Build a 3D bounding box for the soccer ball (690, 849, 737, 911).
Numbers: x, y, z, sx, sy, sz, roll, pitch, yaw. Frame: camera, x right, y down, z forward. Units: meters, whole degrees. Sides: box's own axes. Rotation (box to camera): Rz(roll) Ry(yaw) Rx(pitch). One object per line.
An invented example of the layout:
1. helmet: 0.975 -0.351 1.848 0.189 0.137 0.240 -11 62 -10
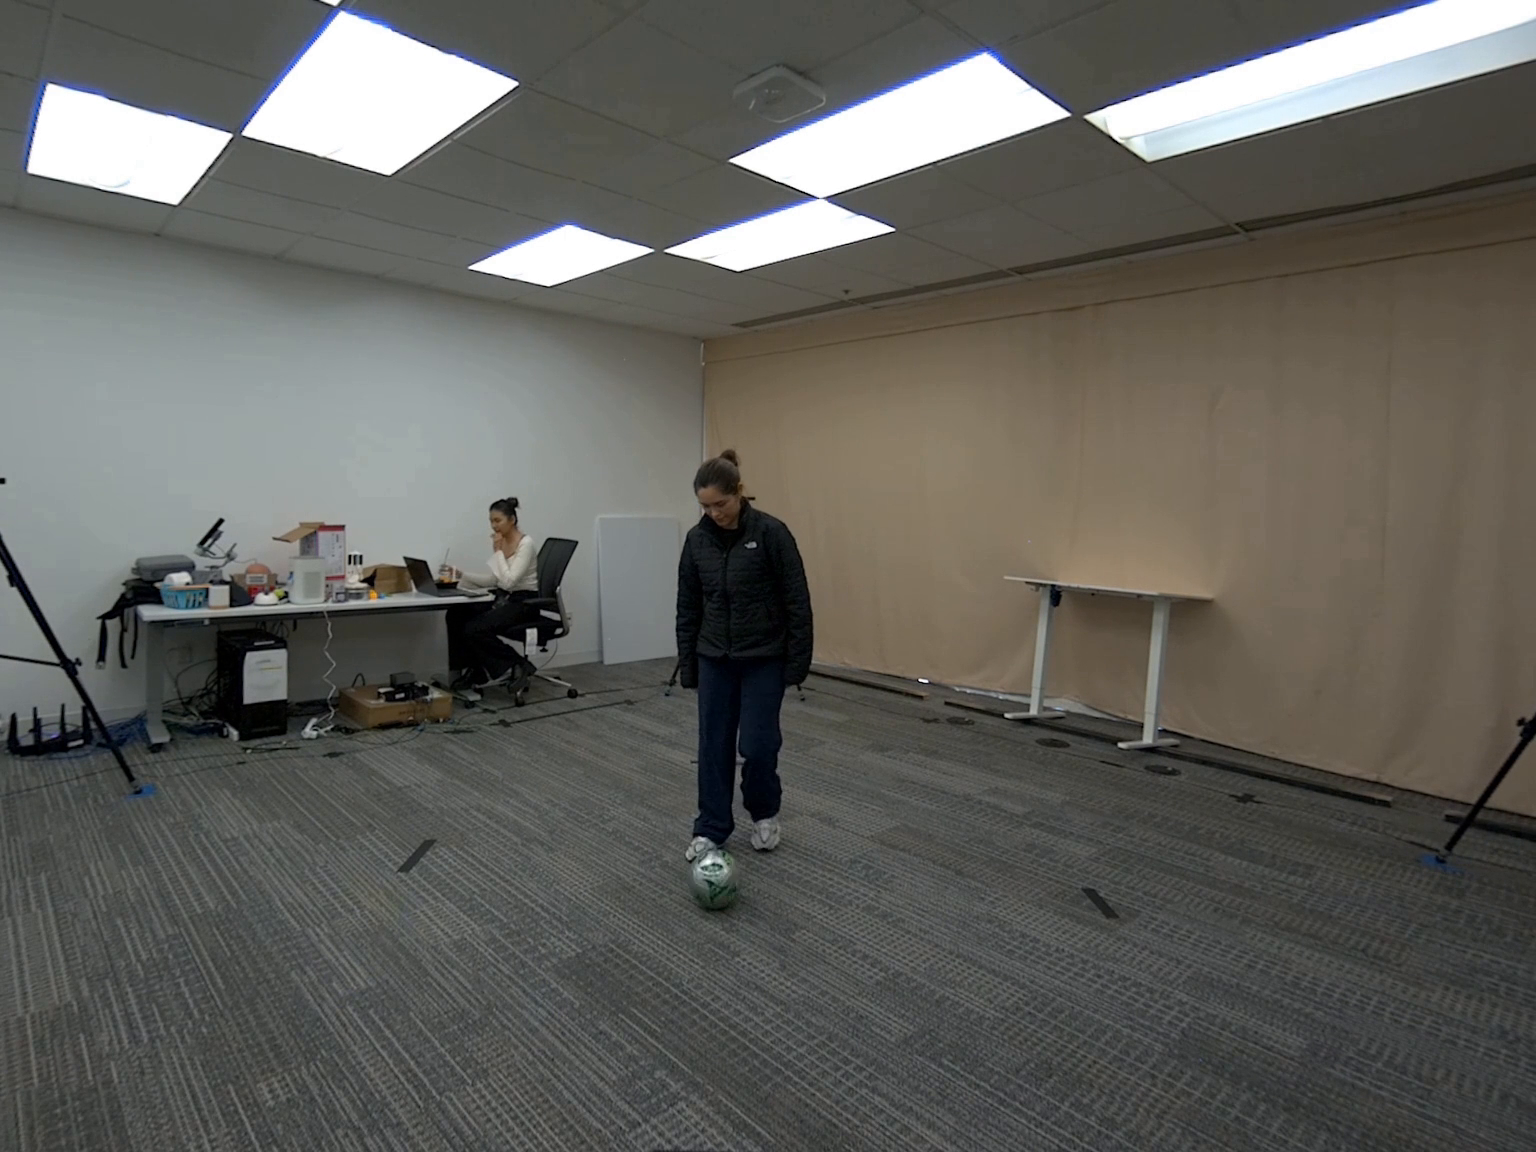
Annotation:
1. soccer ball: -0.195 1.039 2.867 0.187 0.187 0.188 1 4 -1
